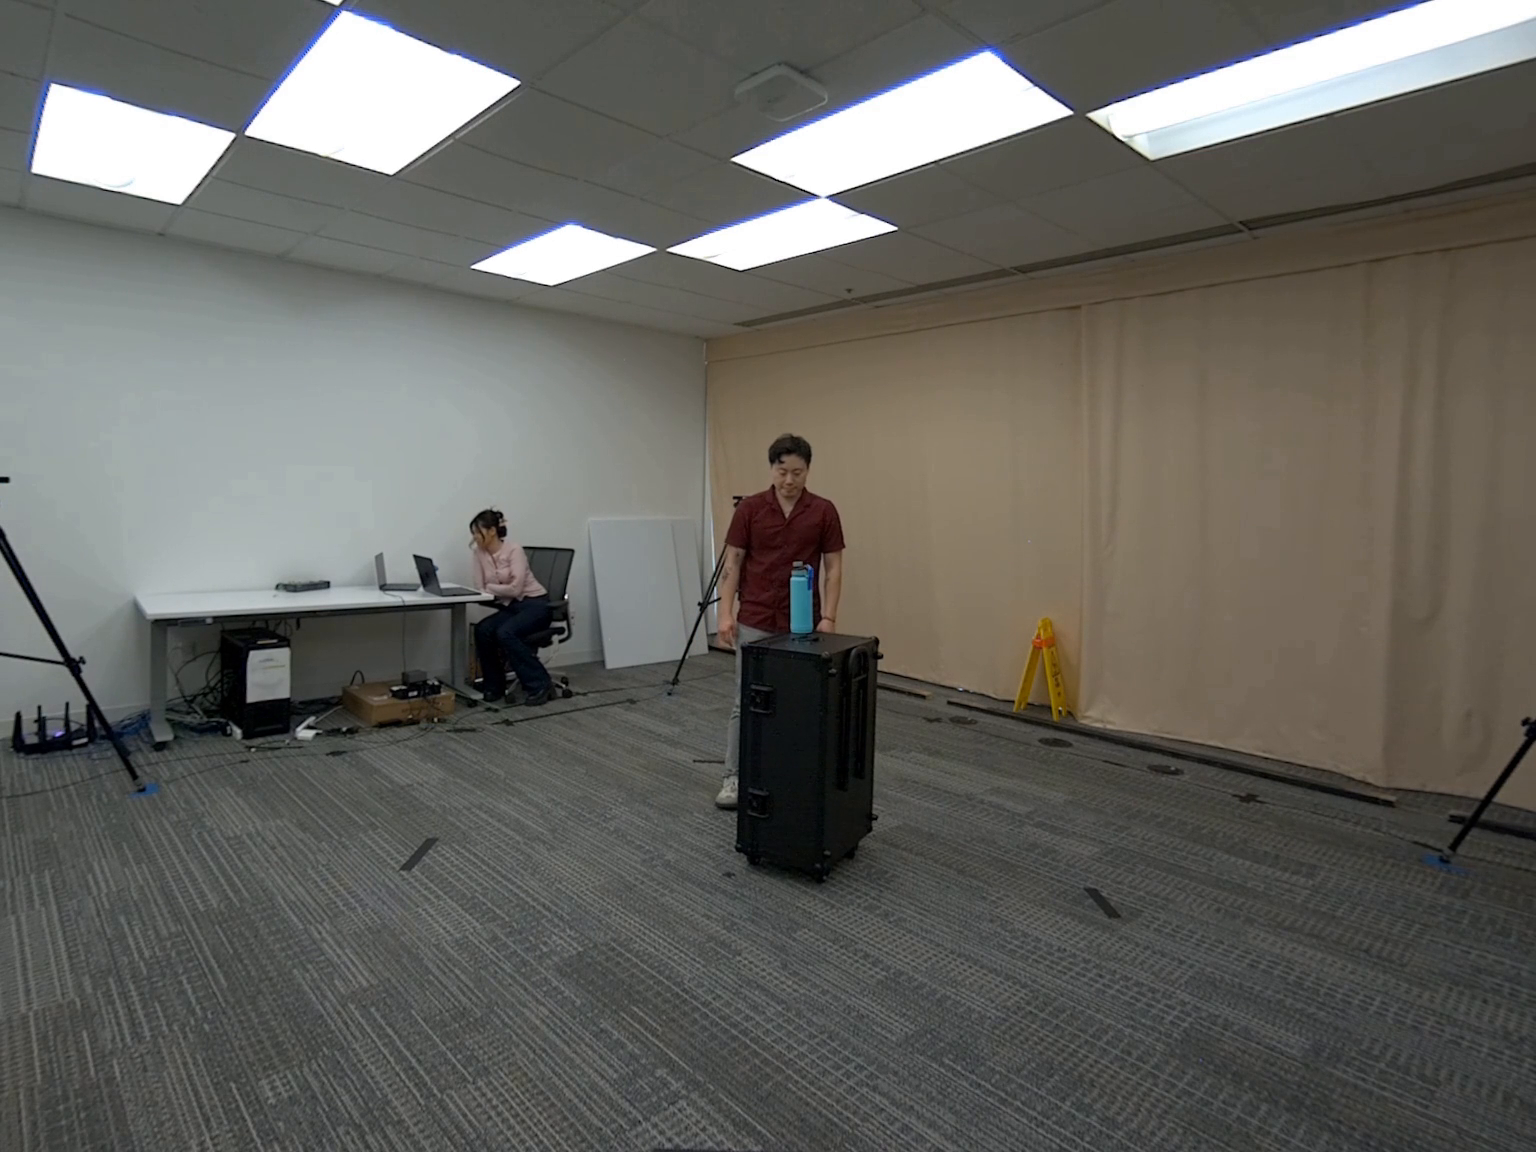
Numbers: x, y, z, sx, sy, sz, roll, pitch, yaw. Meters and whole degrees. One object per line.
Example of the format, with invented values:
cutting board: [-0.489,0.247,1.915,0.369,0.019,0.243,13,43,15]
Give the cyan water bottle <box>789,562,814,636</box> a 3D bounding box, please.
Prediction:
cyan water bottle: [0.128,0.085,3.432,0.092,0.282,0.093,0,5,-1]
